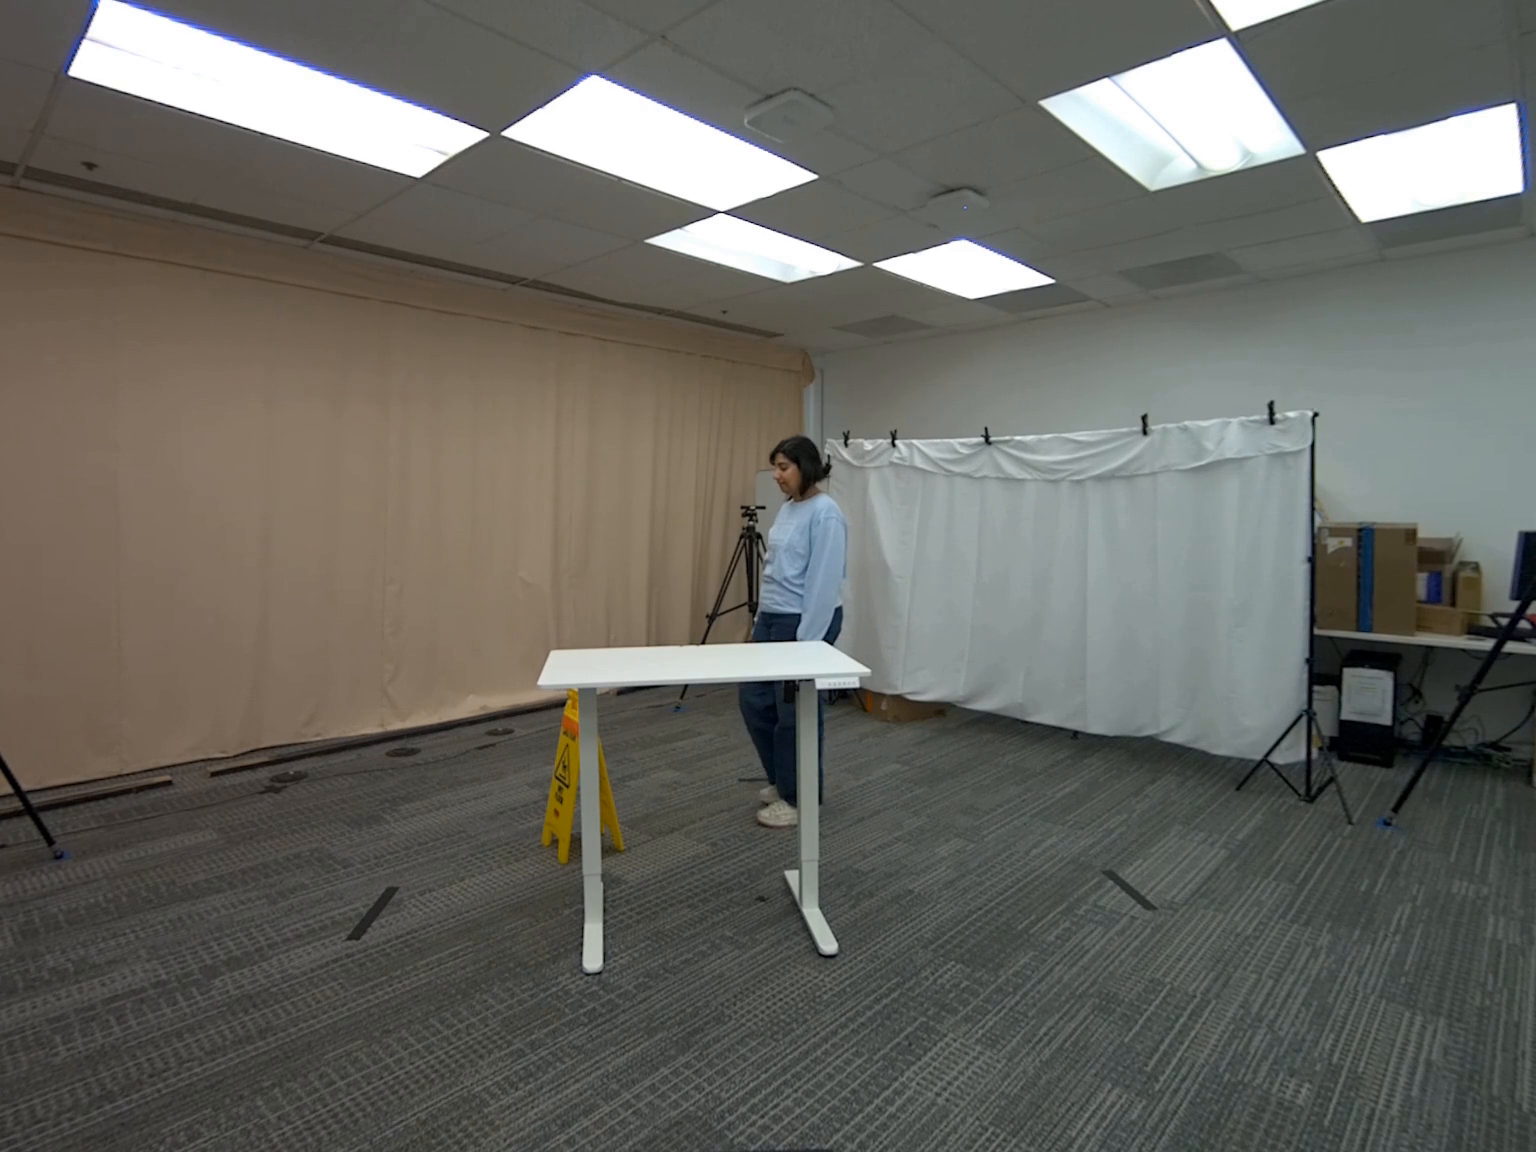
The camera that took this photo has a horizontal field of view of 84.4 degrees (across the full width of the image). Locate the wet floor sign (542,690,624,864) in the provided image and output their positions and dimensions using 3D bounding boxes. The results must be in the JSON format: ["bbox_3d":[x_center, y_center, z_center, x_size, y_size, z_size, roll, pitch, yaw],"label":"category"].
[{"bbox_3d":[-0.769,0.790,3.445,0.282,0.645,0.290,-3,3,-31],"label":"wet floor sign"}]
